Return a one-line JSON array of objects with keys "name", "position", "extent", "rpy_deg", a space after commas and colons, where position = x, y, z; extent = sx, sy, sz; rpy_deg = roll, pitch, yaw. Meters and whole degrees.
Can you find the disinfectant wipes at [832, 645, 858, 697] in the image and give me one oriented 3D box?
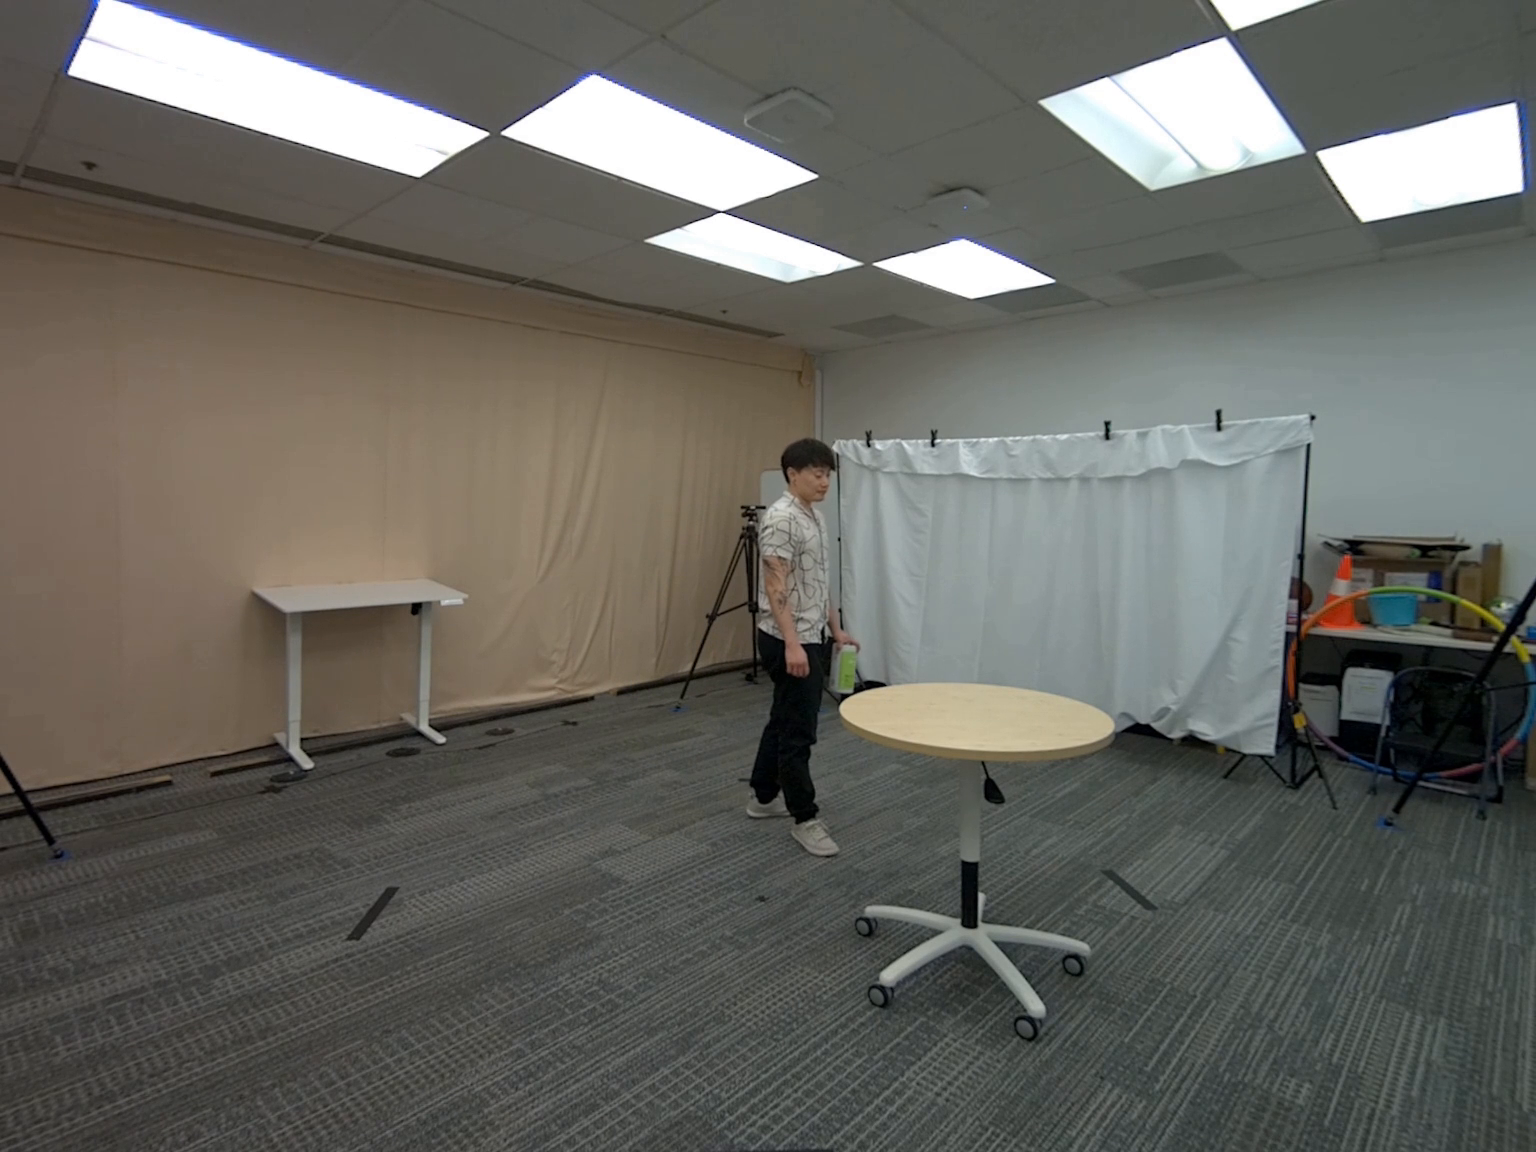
[{"name": "disinfectant wipes", "position": [0.340, 0.421, 3.794], "extent": [0.117, 0.217, 0.118], "rpy_deg": [6, 2, -2]}]
